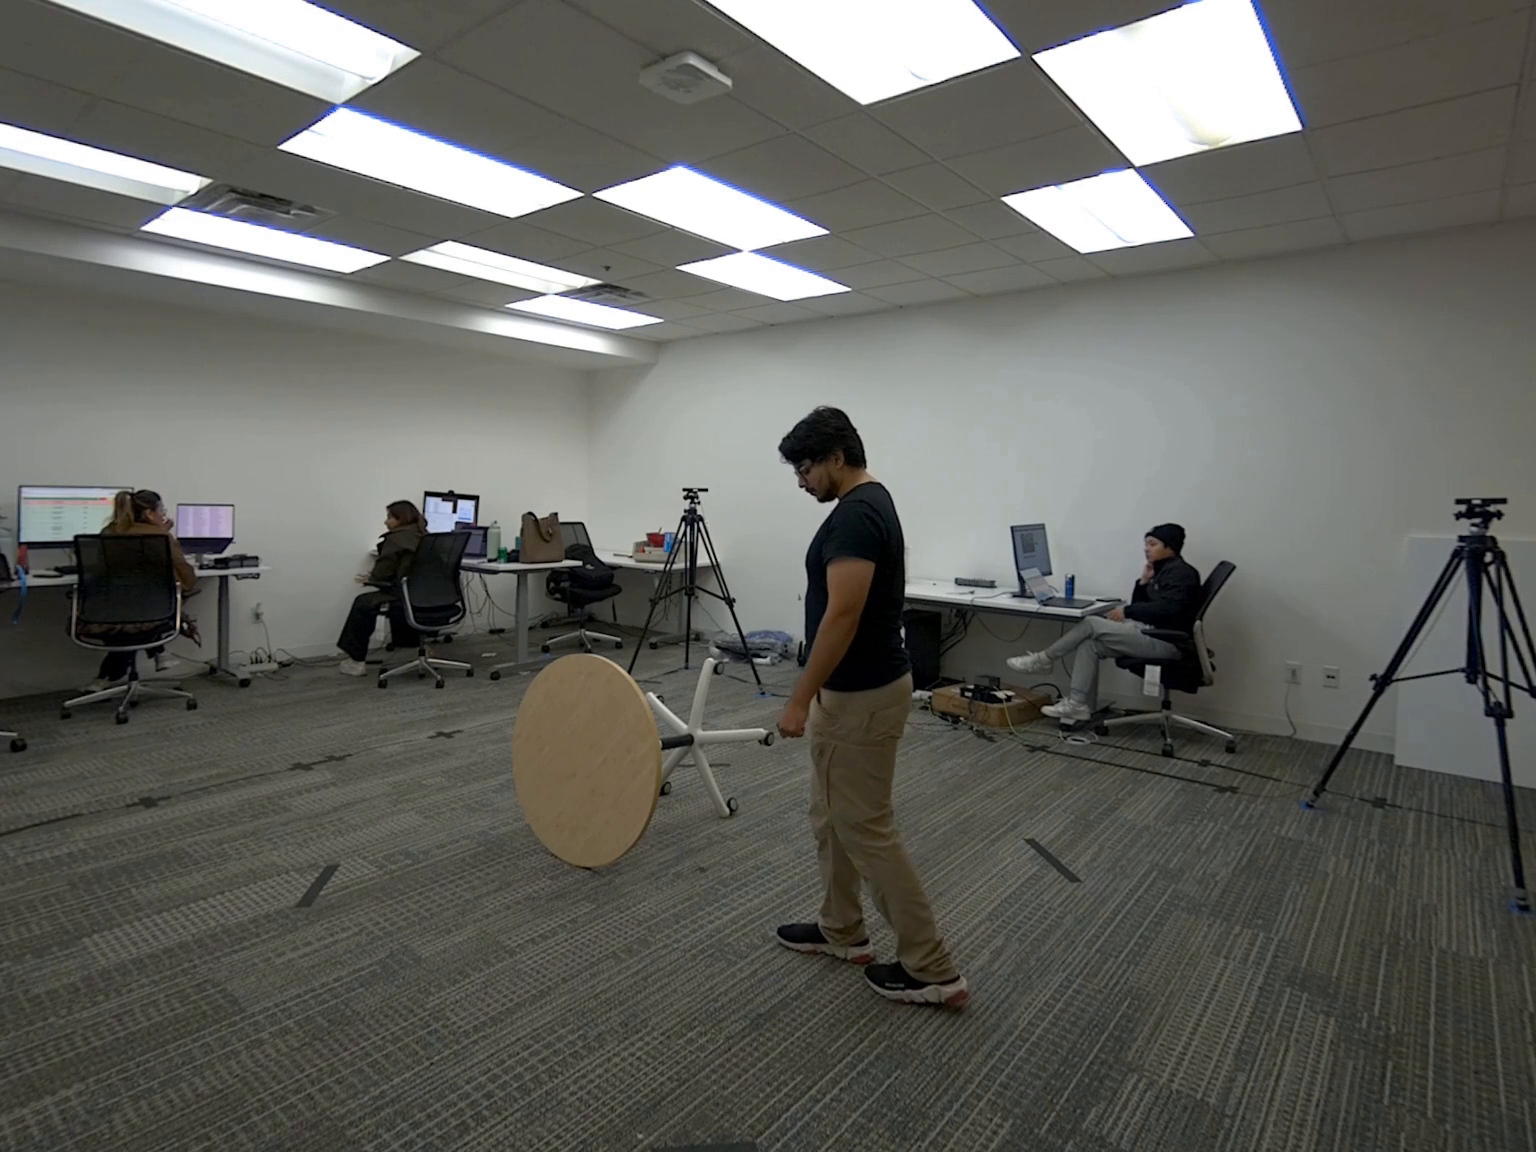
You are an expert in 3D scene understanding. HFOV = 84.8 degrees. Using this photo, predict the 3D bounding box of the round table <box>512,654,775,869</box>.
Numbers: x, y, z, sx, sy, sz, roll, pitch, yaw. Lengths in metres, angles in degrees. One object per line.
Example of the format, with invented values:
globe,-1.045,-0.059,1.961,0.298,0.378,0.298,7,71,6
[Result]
round table,-0.491,0.699,3.467,0.811,0.787,0.759,4,-2,36
